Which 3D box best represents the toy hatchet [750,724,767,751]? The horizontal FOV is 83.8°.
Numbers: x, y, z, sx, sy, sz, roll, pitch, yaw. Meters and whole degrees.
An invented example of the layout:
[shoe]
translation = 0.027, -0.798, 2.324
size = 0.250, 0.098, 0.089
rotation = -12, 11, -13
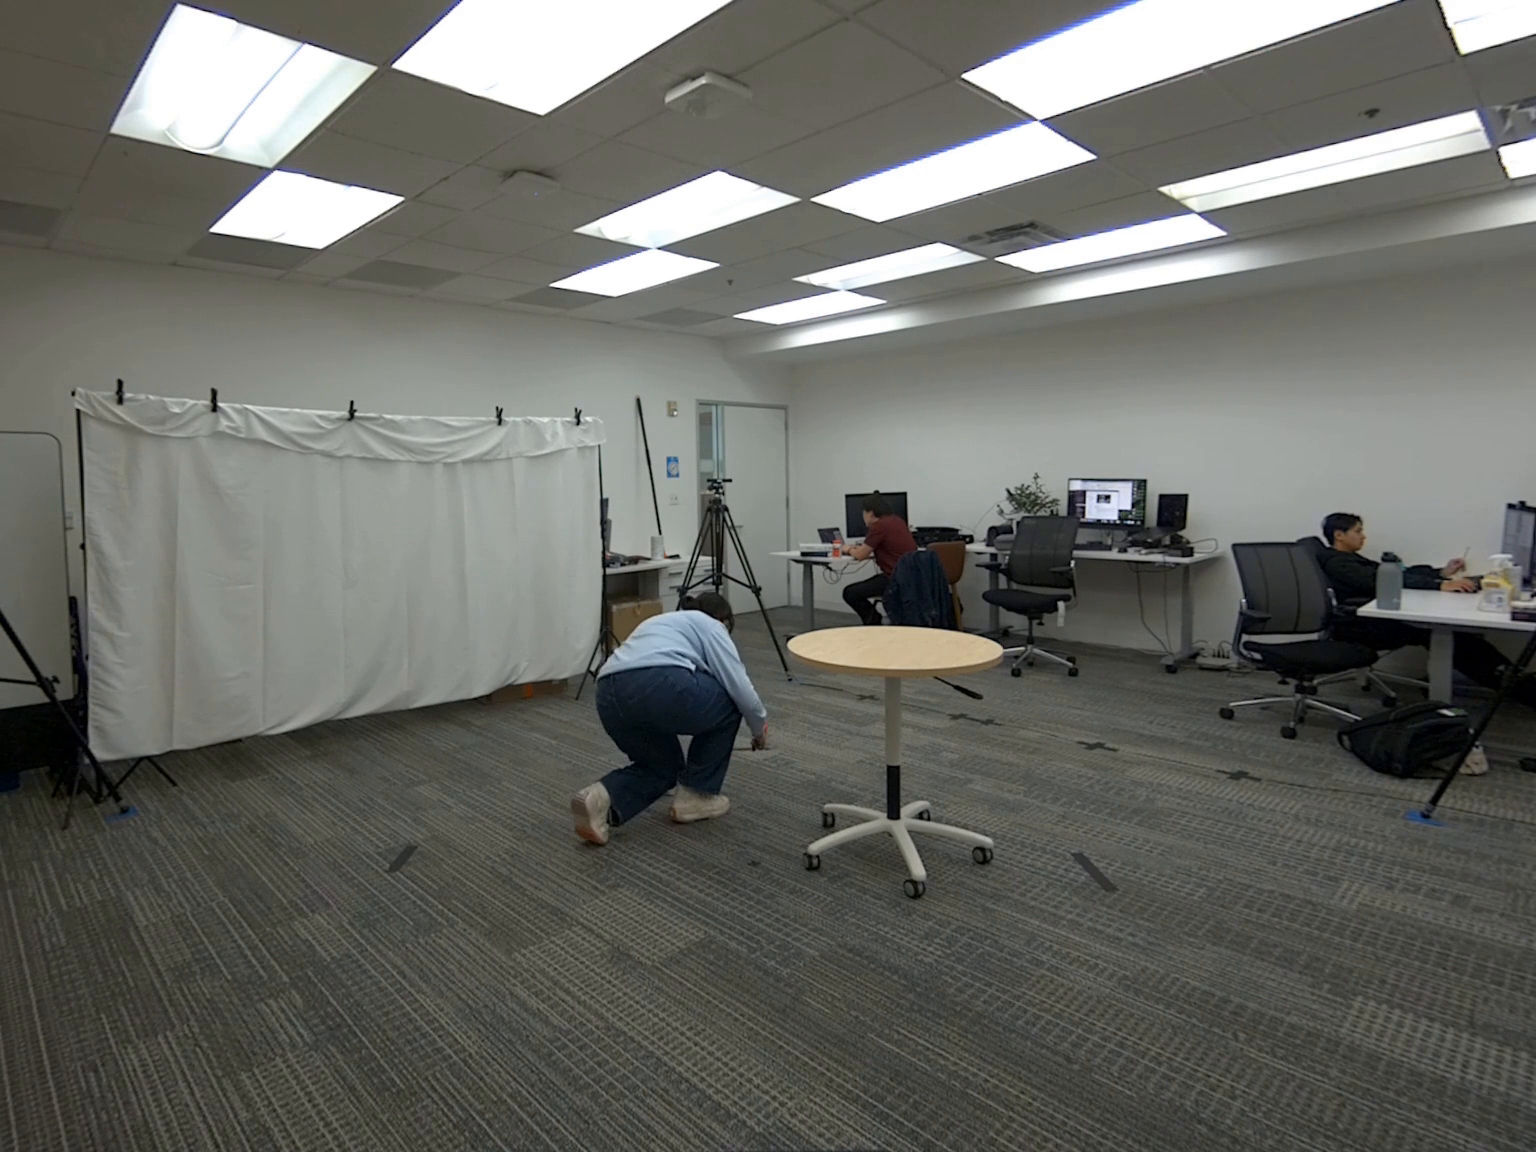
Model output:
[toy hatchet]
translation = -0.040, 0.739, 3.836
size = 0.030, 0.129, 0.270
rotation = 4, 16, 13
